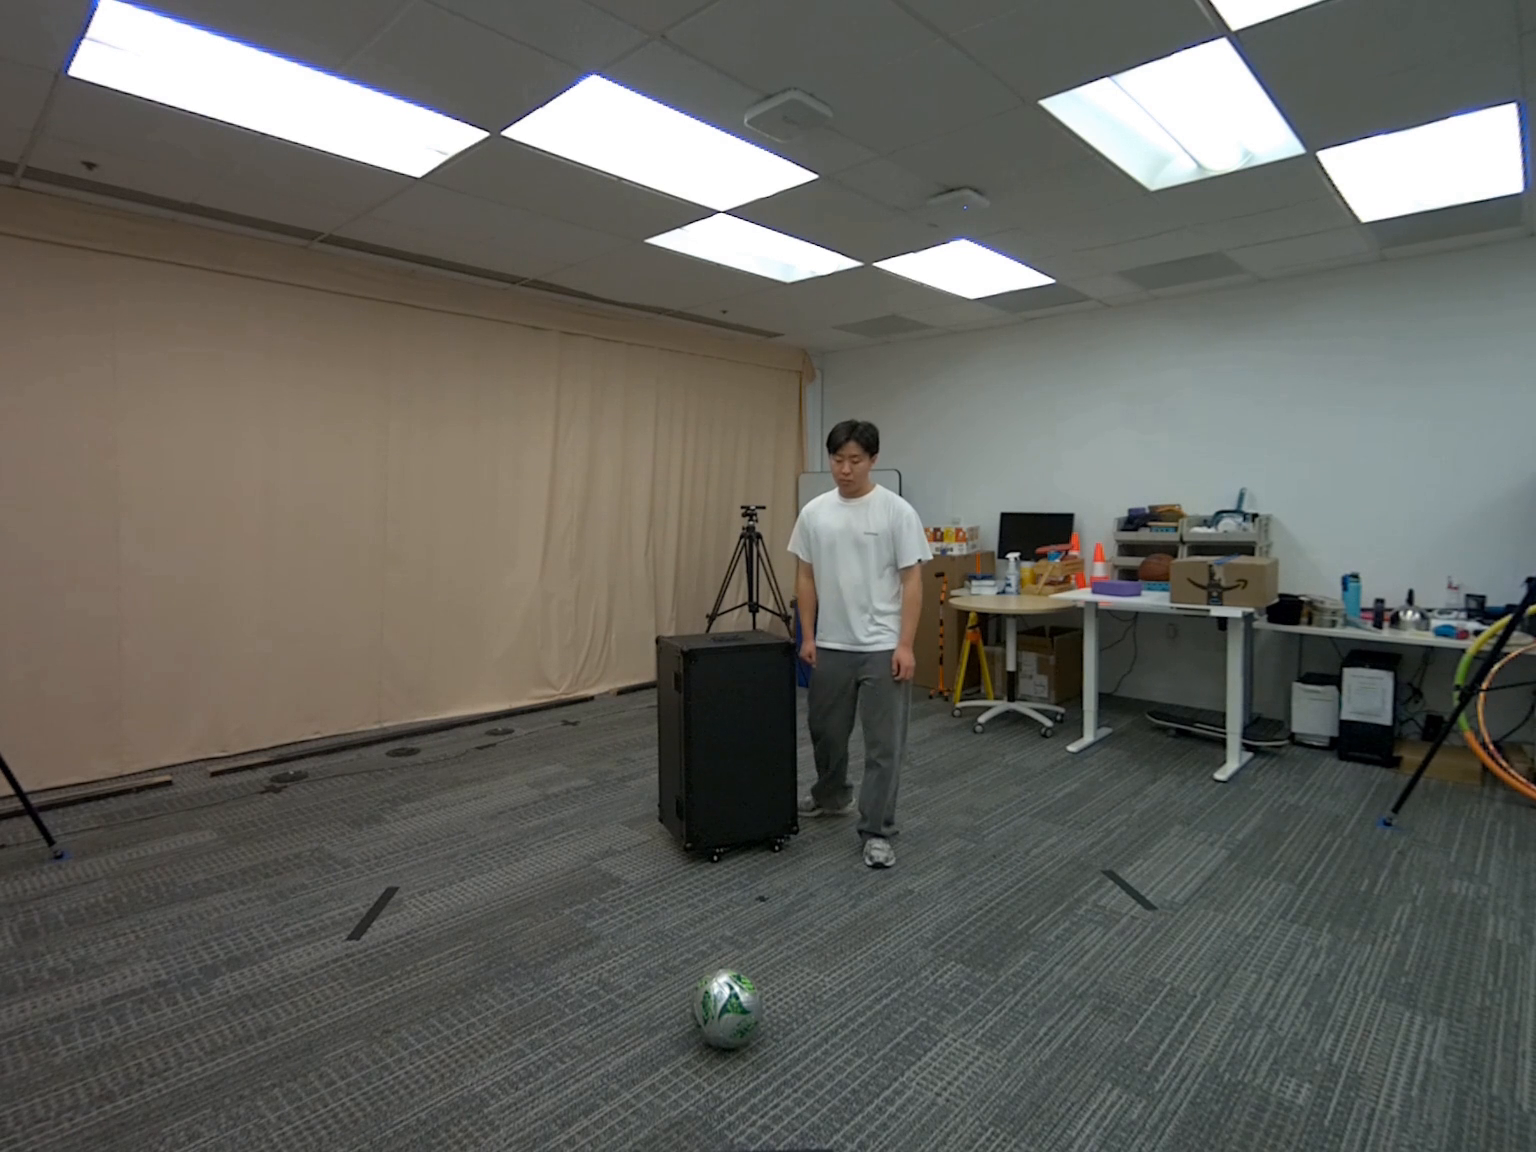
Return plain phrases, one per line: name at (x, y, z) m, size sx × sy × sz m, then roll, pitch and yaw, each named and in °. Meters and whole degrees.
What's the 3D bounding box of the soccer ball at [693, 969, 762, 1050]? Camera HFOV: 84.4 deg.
soccer ball at (-0.104, 1.114, 2.184) m, size 0.187 × 0.187 × 0.188 m, roll 0°, pitch 4°, yaw -2°
